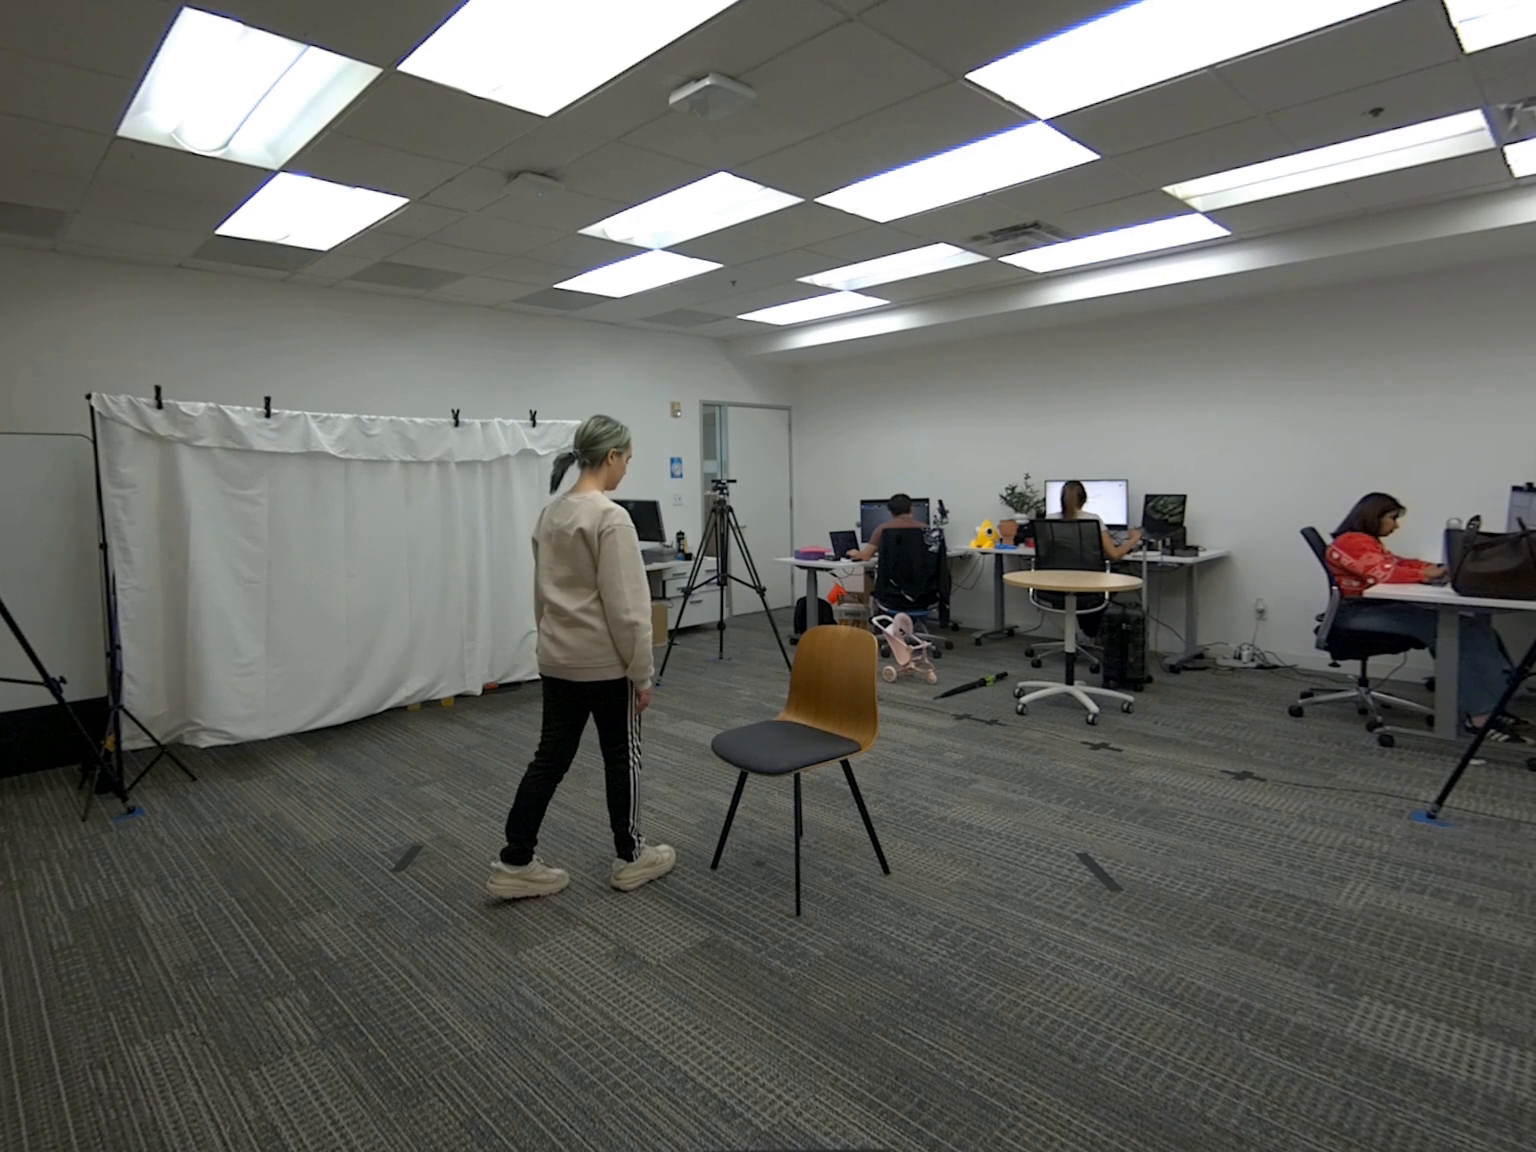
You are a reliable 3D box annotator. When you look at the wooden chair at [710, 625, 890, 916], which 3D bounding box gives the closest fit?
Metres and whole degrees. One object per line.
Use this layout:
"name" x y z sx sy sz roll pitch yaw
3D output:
"wooden chair" 0.089 0.623 3.003 0.508 0.876 0.493 1 2 -40
